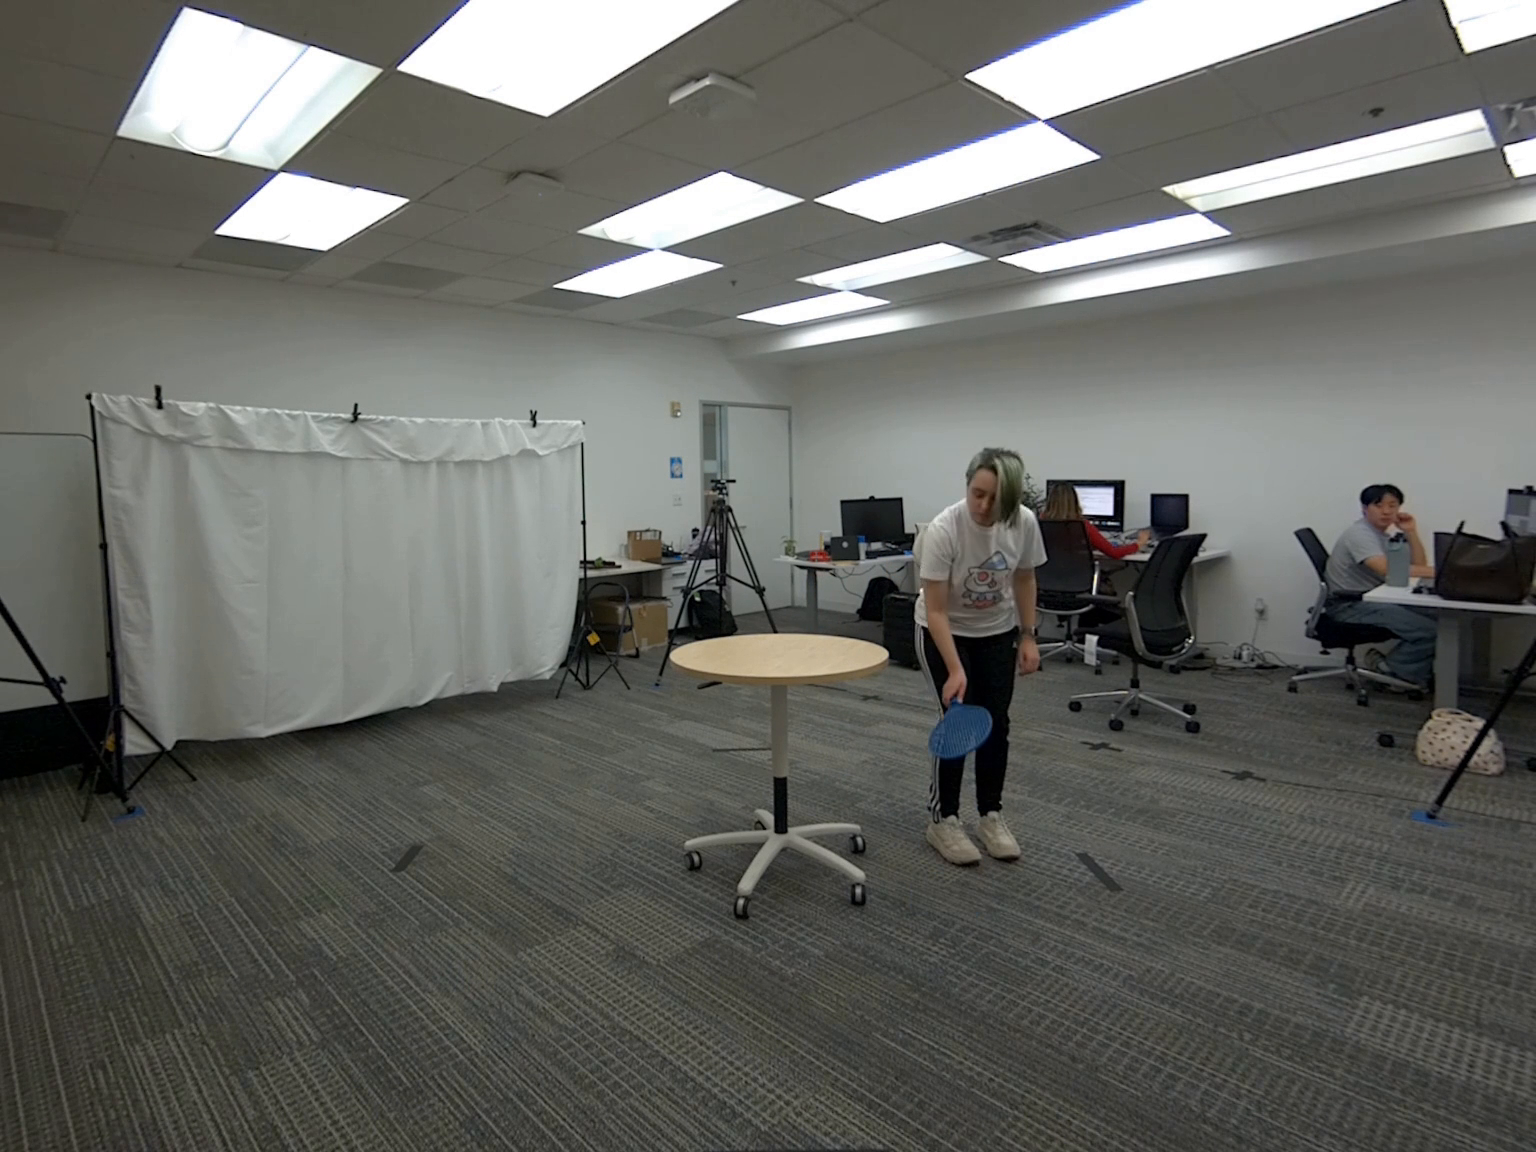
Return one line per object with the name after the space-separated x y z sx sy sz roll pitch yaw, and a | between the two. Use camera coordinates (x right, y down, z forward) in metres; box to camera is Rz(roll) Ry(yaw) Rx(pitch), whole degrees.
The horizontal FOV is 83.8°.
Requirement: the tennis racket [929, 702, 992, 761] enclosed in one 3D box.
0.622 0.483 2.743 0.216 0.031 0.434 -18 13 15 | tennis racket
